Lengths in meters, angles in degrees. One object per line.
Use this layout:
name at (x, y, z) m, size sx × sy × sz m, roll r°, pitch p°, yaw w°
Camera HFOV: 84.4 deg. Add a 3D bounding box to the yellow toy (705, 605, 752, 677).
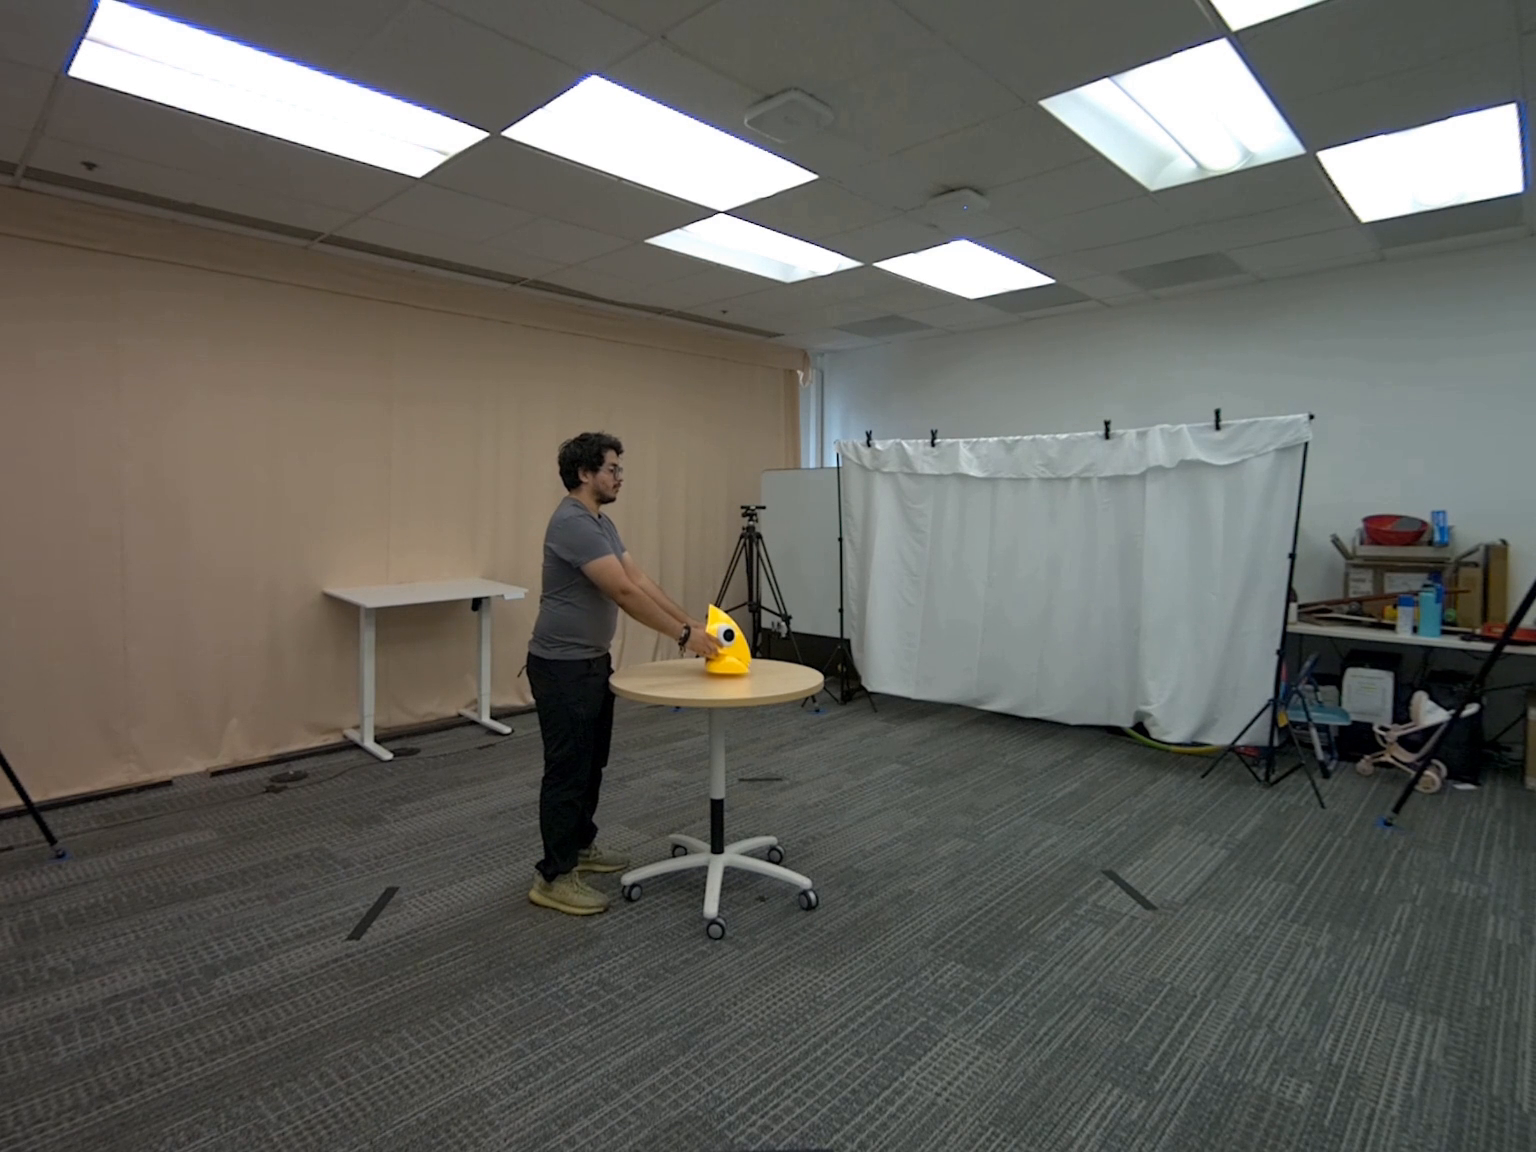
yellow toy at (-0.153, 0.220, 3.039) m, size 0.193 × 0.230 × 0.205 m, roll 2°, pitch 3°, yaw 0°
